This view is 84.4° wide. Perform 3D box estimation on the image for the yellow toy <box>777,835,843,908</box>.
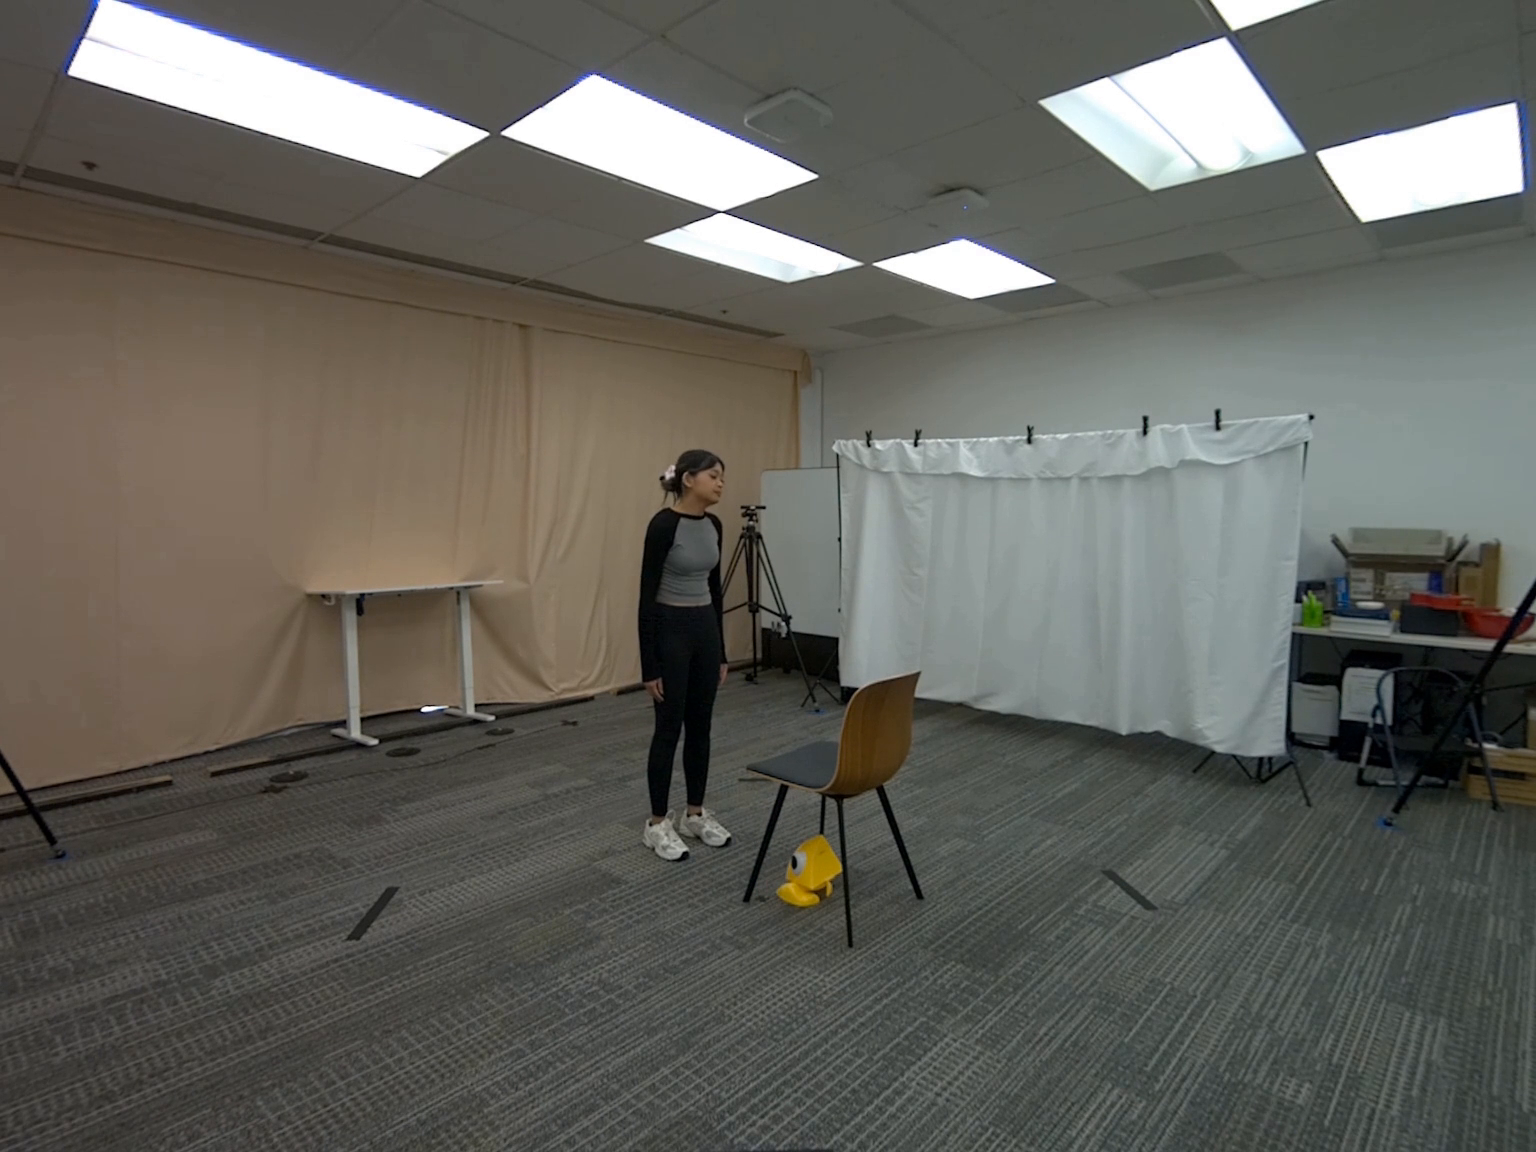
[{"bbox_3d":[0.144,1.030,3.015,0.199,0.230,0.199,4,6,40],"label":"yellow toy"}]
